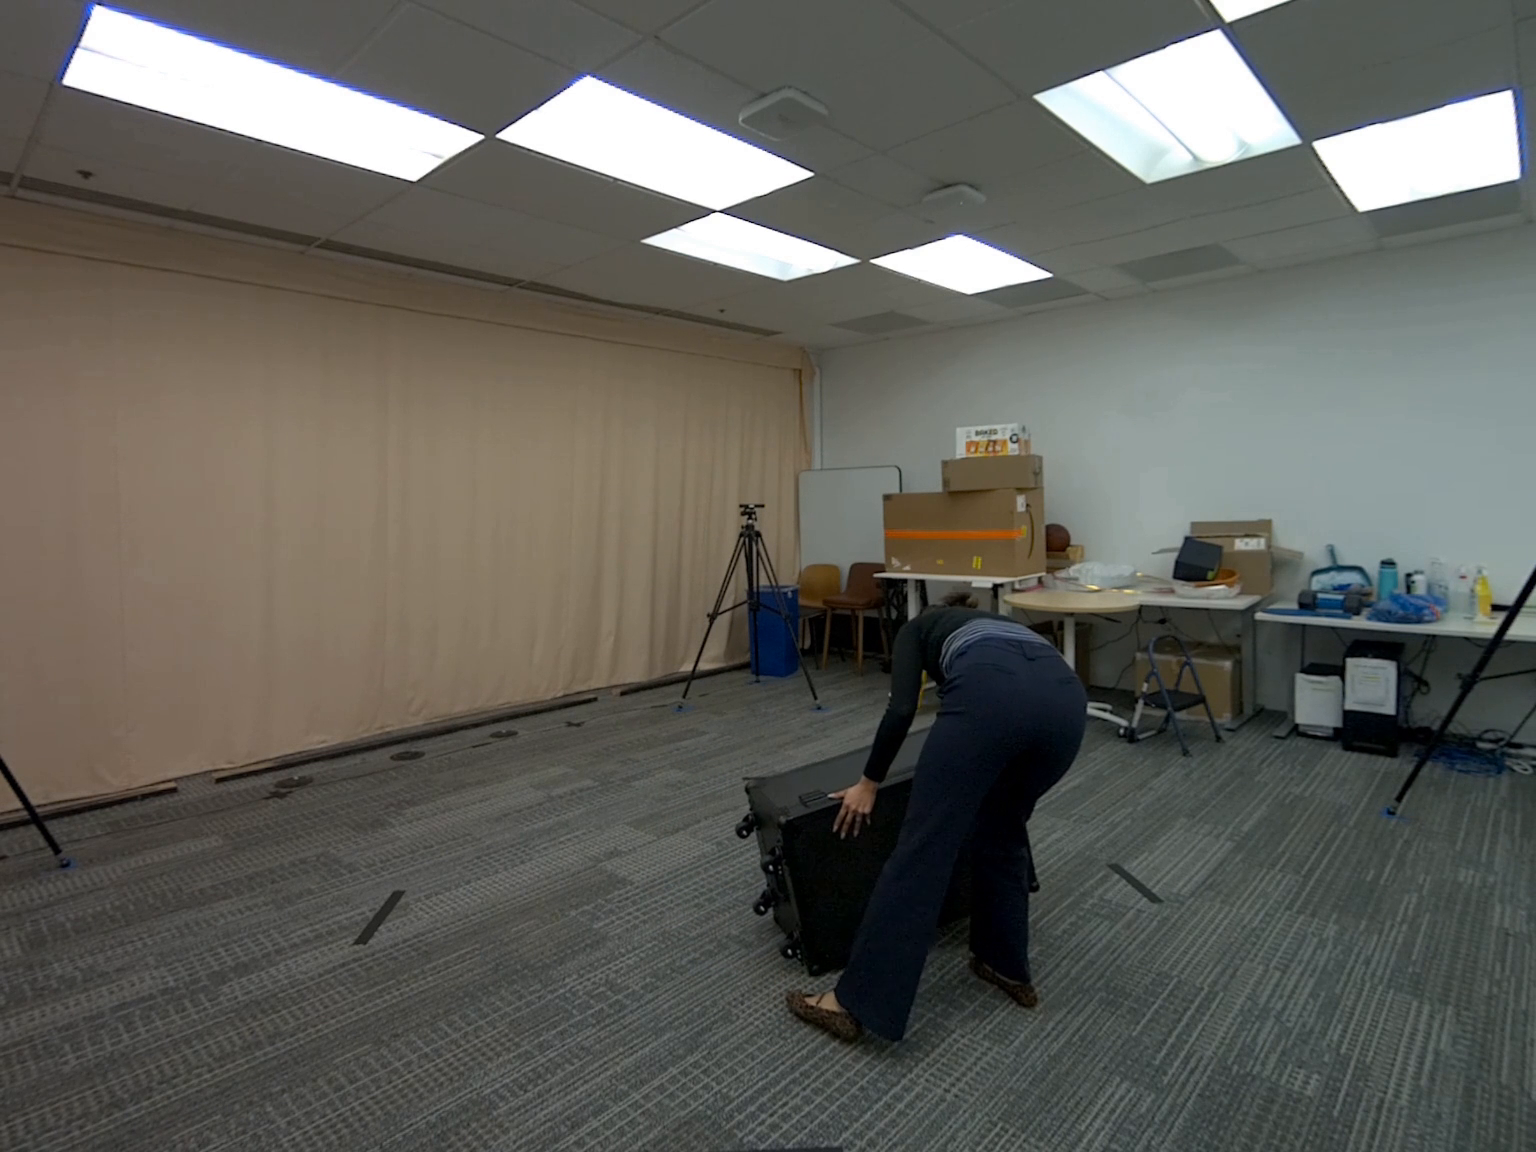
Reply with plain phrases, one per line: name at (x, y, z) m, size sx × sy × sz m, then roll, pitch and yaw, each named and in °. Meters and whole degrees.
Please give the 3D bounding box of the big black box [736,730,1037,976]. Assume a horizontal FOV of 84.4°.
big black box at (0.357, 0.842, 2.717) m, size 0.850 × 0.519 × 0.403 m, roll -14°, pitch 6°, yaw -15°
